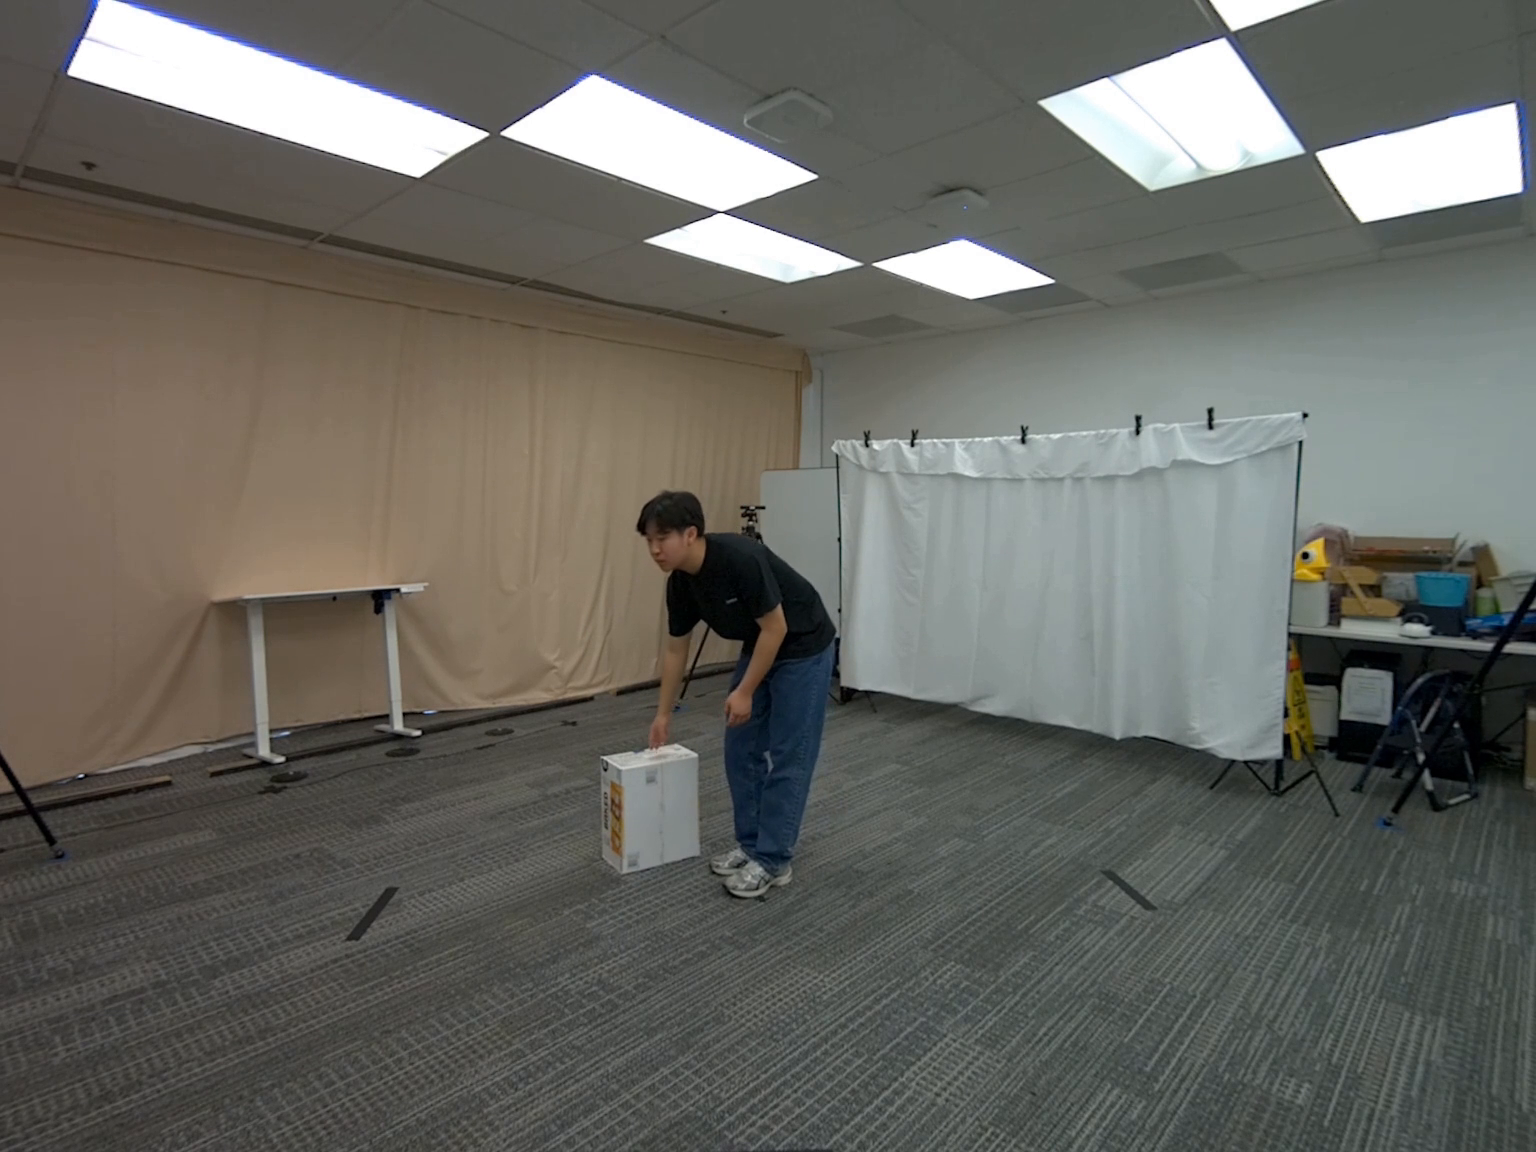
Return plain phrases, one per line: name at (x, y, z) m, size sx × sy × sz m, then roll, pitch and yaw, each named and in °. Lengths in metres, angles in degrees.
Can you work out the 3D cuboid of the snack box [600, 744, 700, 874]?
snack box at (-0.467, 0.911, 3.350) m, size 0.331 × 0.404 × 0.212 m, roll -2°, pitch 4°, yaw -32°
